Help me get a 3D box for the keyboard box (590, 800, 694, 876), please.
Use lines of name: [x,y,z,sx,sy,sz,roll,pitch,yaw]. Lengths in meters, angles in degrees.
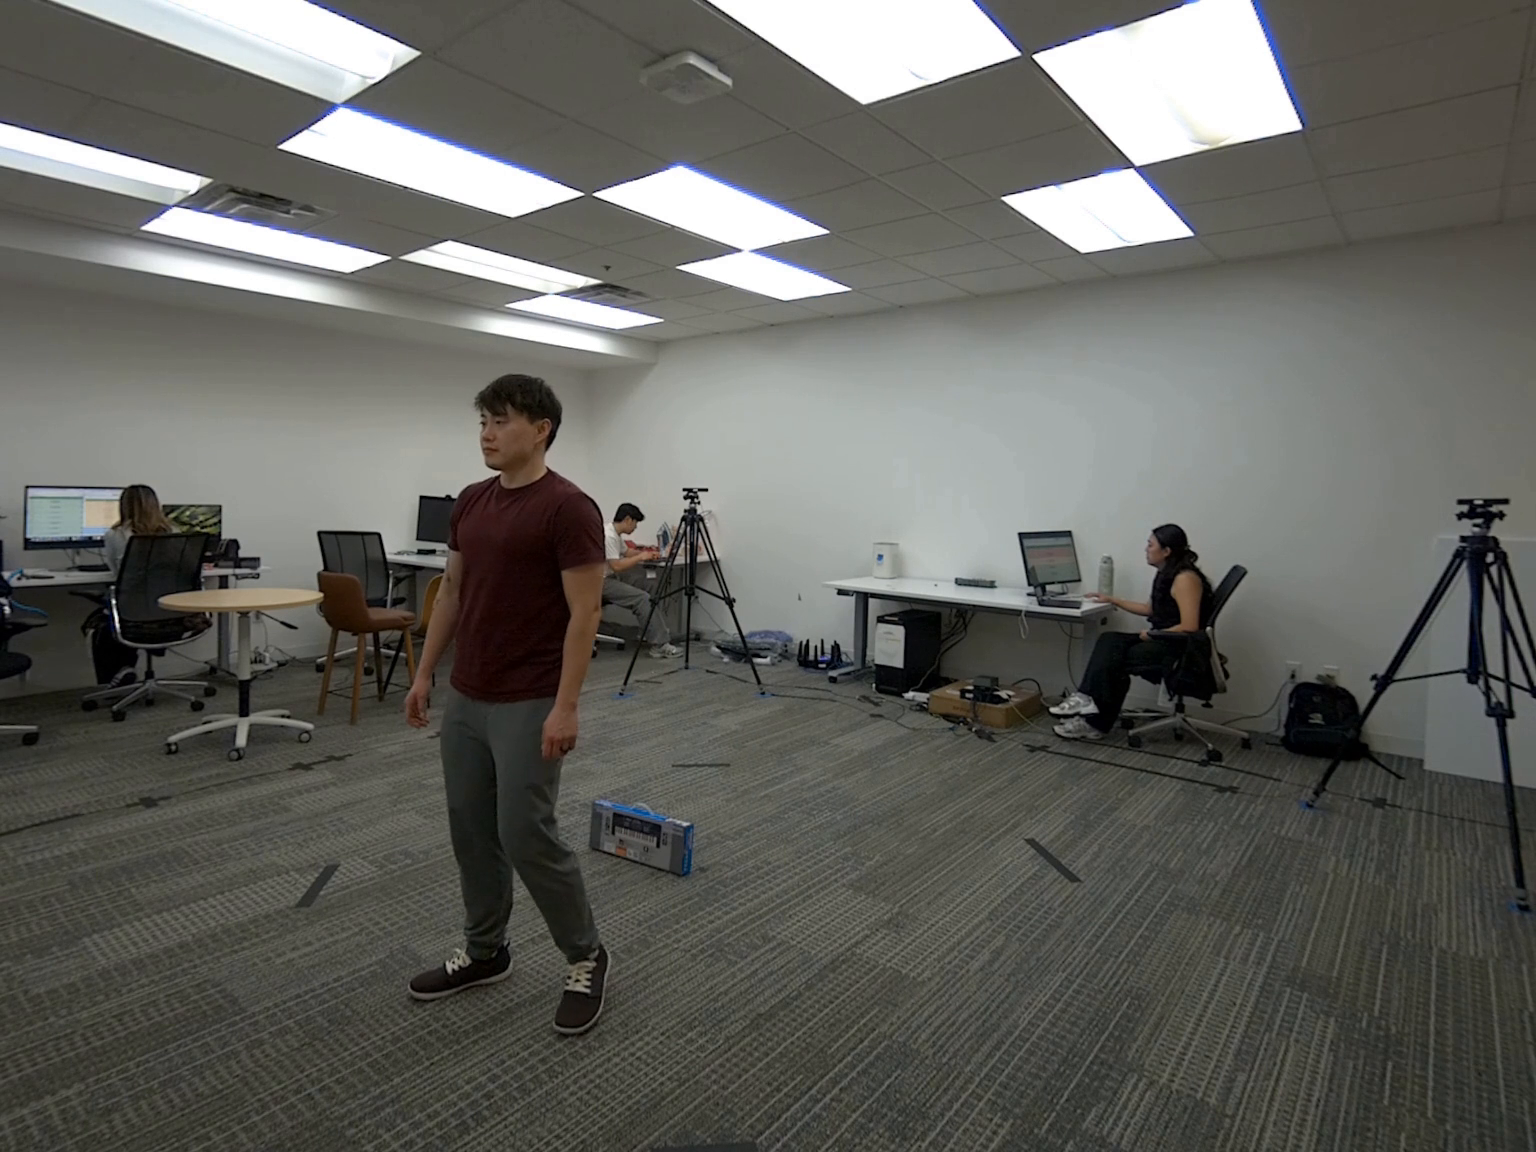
keyboard box: [-0.488,0.972,3.182,0.450,0.176,0.057,4,-2,31]
